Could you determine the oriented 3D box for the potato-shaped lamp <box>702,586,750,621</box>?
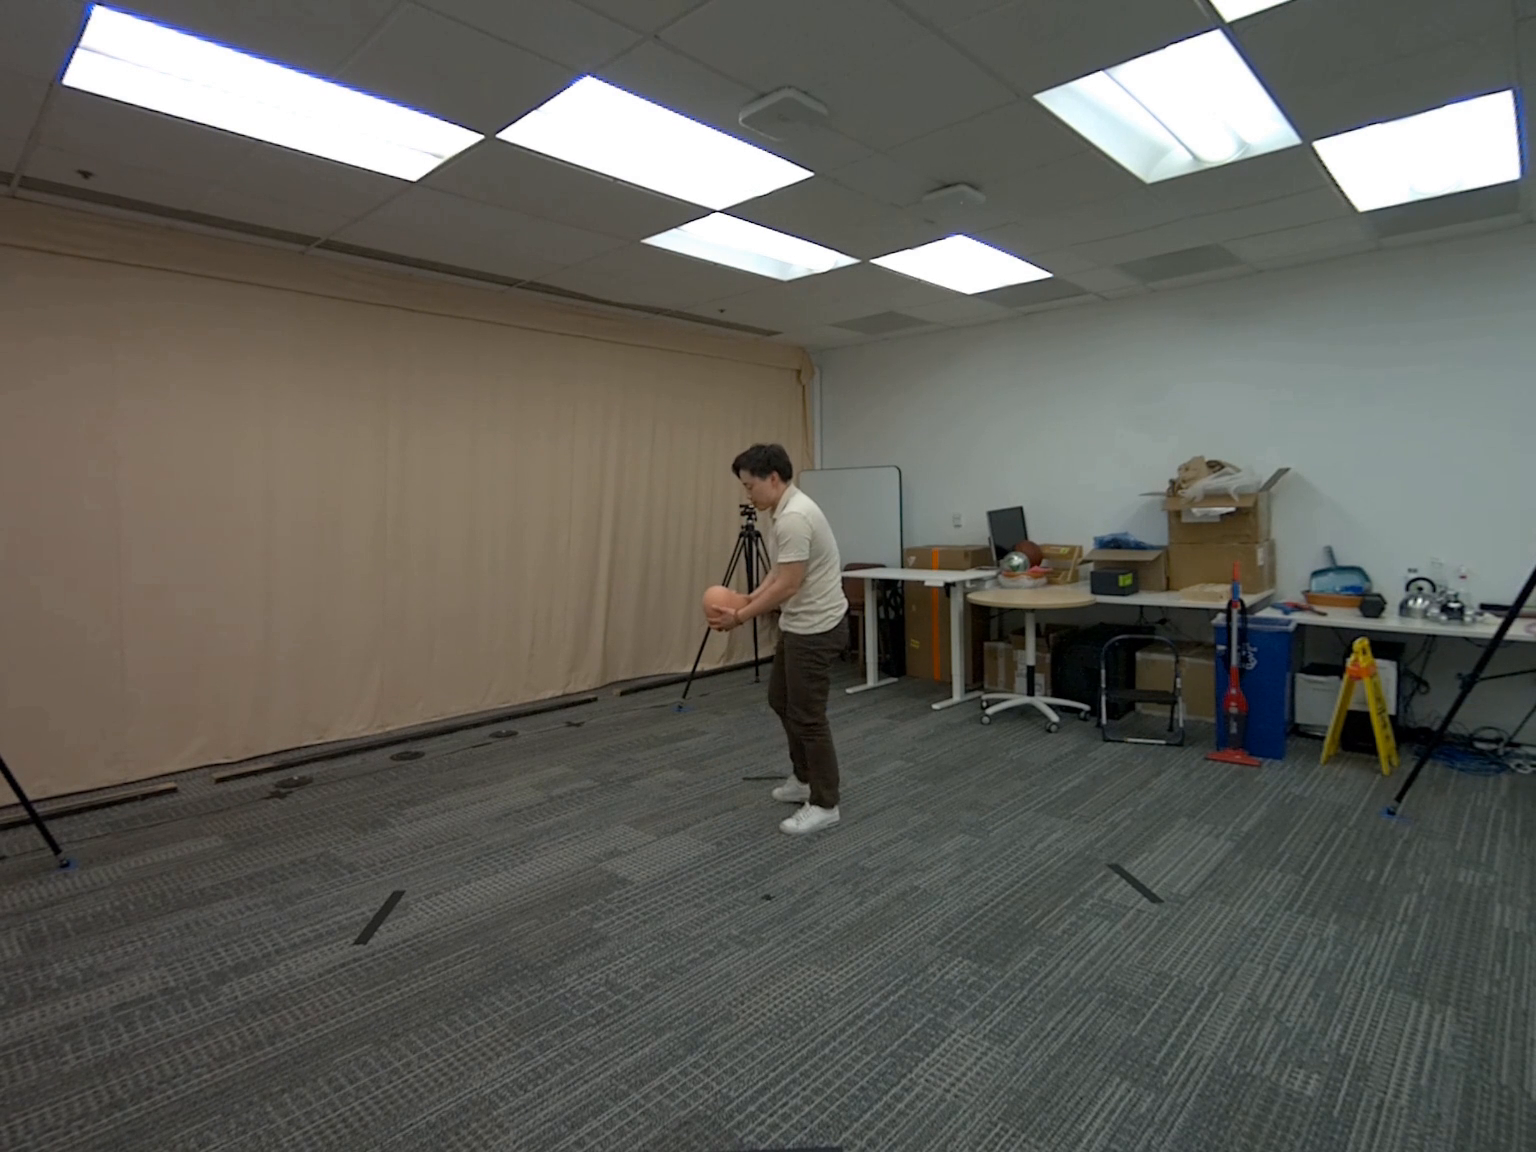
[{"bbox_3d":[-0.185,0.131,3.552,0.169,0.173,0.191,-13,-46,32],"label":"potato-shaped lamp"}]
